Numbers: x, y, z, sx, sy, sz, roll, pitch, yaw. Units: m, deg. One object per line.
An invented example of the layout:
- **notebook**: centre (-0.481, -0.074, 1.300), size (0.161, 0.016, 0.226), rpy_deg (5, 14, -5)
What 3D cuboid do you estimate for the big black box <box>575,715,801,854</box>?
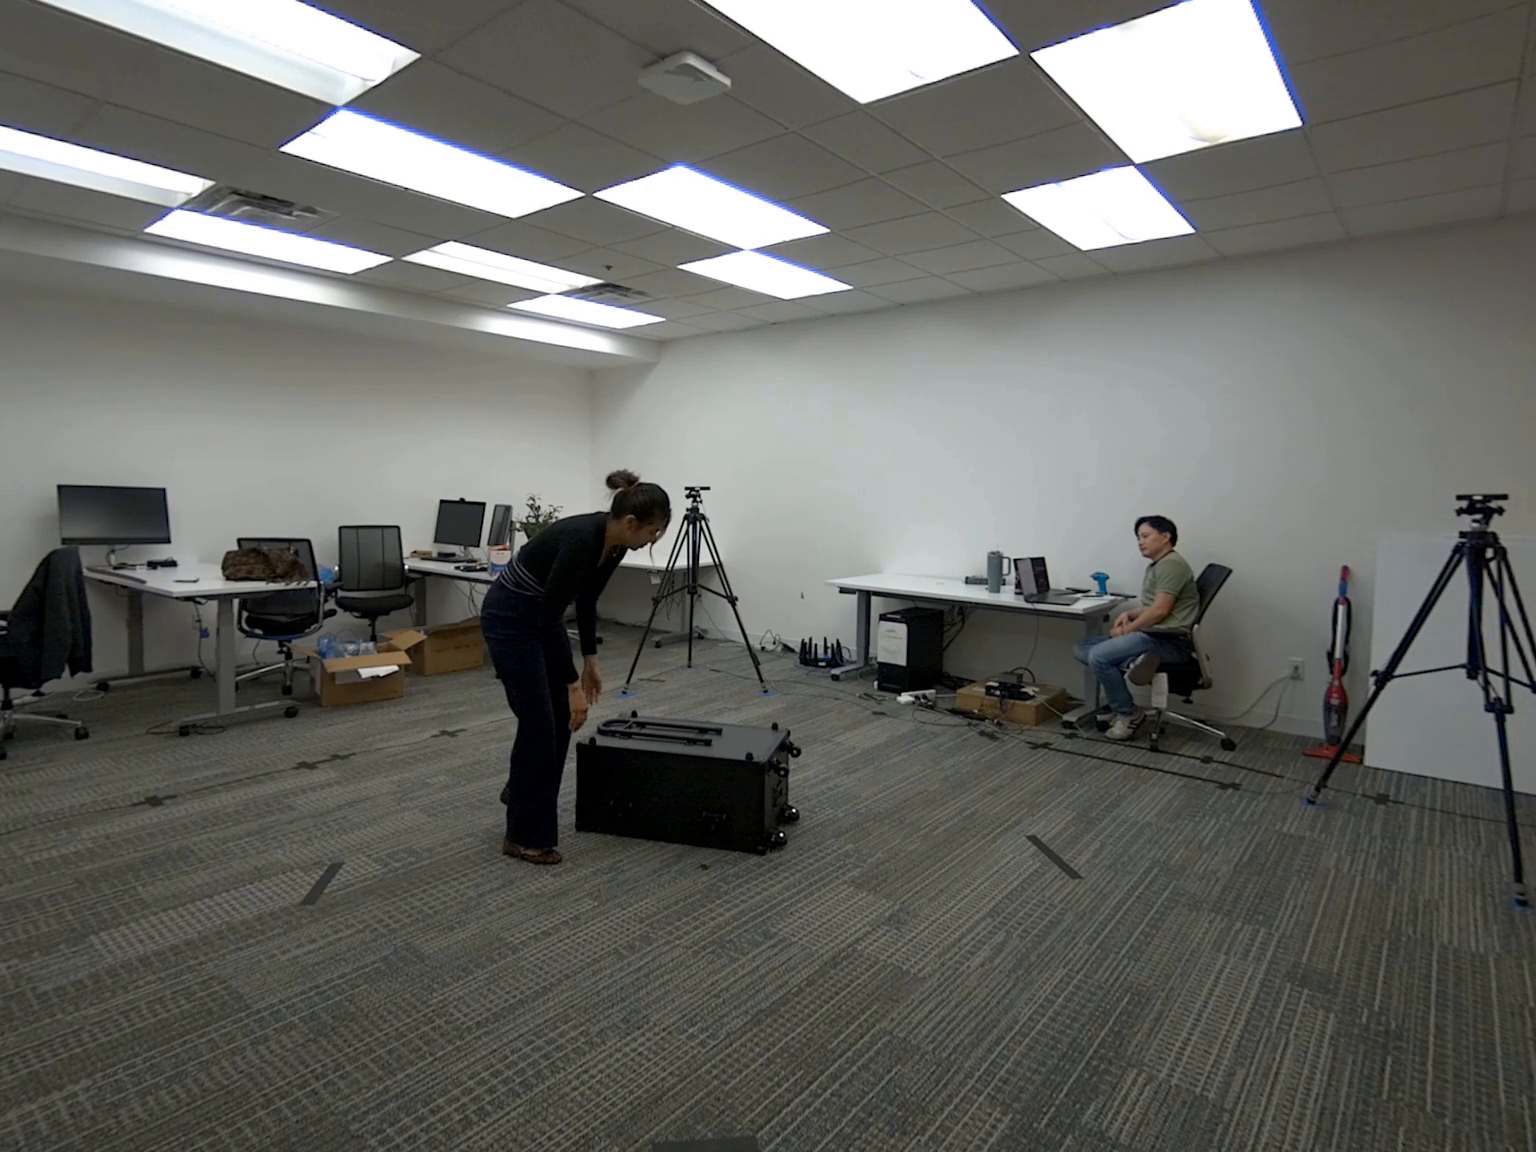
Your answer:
- **big black box**: centre (-0.314, 0.827, 3.536), size (0.876, 0.395, 0.515), rpy_deg (3, 5, 15)
